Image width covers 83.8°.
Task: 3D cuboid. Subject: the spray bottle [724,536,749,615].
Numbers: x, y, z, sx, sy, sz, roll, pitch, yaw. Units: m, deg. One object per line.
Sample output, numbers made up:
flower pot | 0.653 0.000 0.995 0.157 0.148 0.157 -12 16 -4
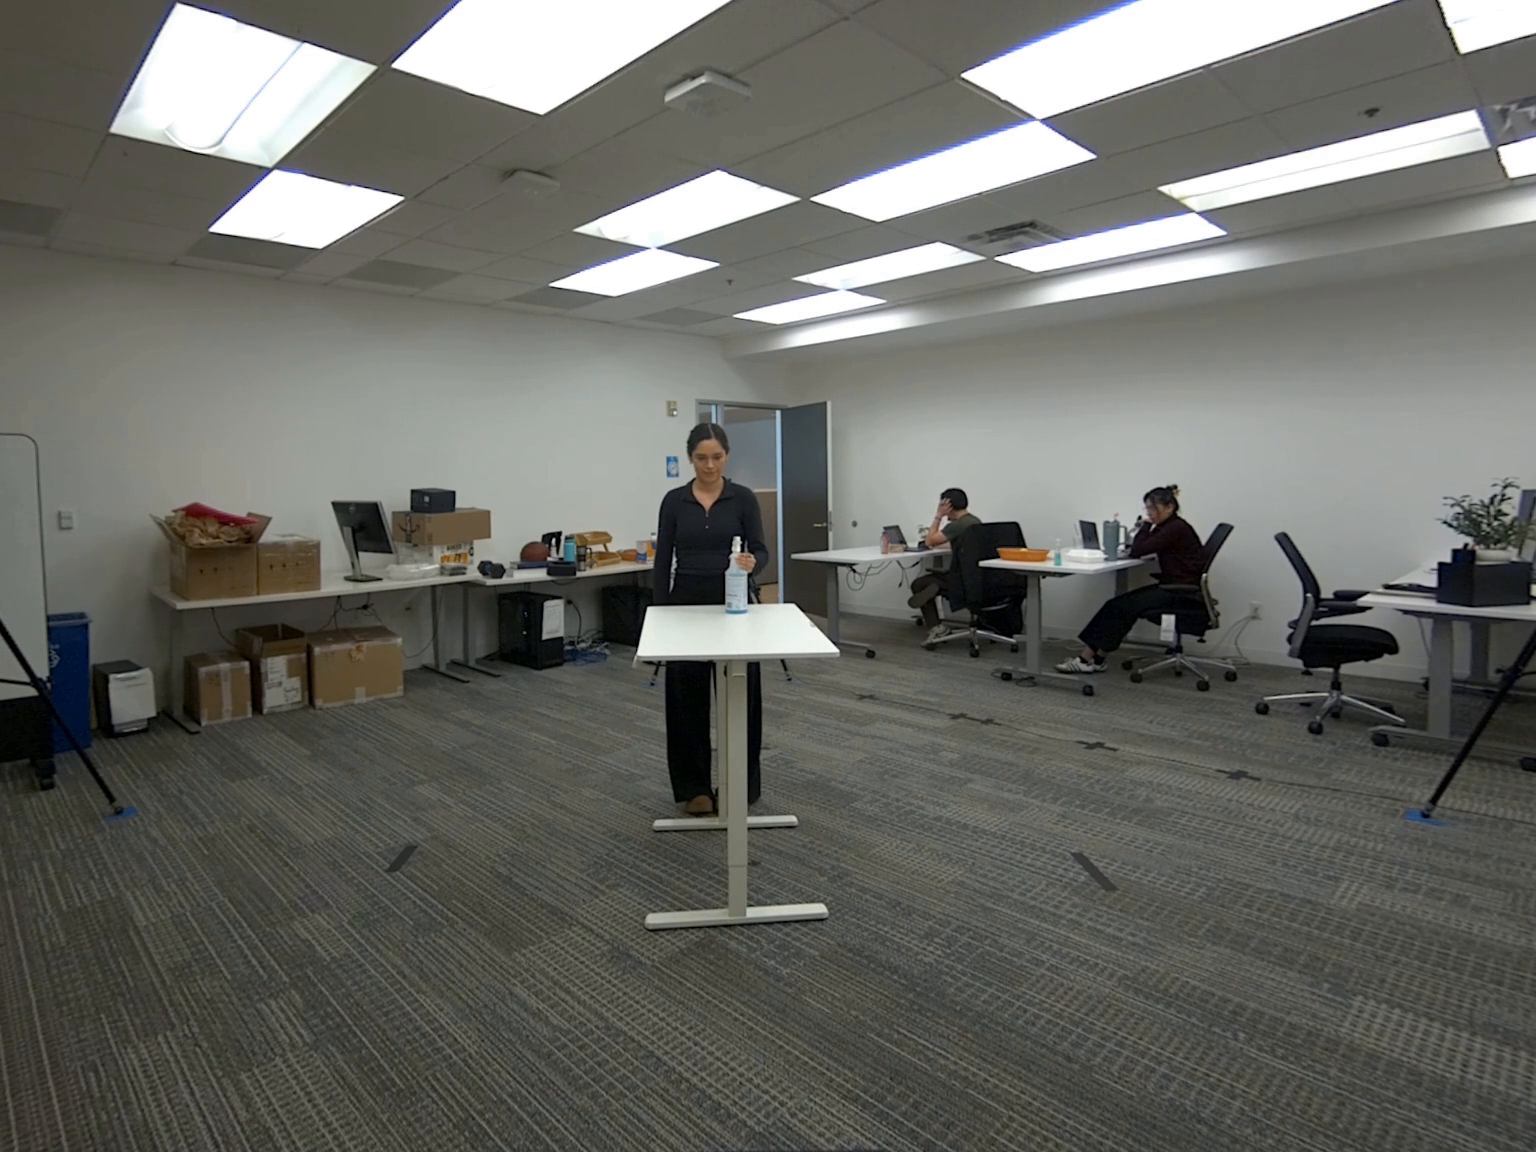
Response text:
spray bottle | -0.128 -0.001 3.310 0.088 0.296 0.089 1 5 17
